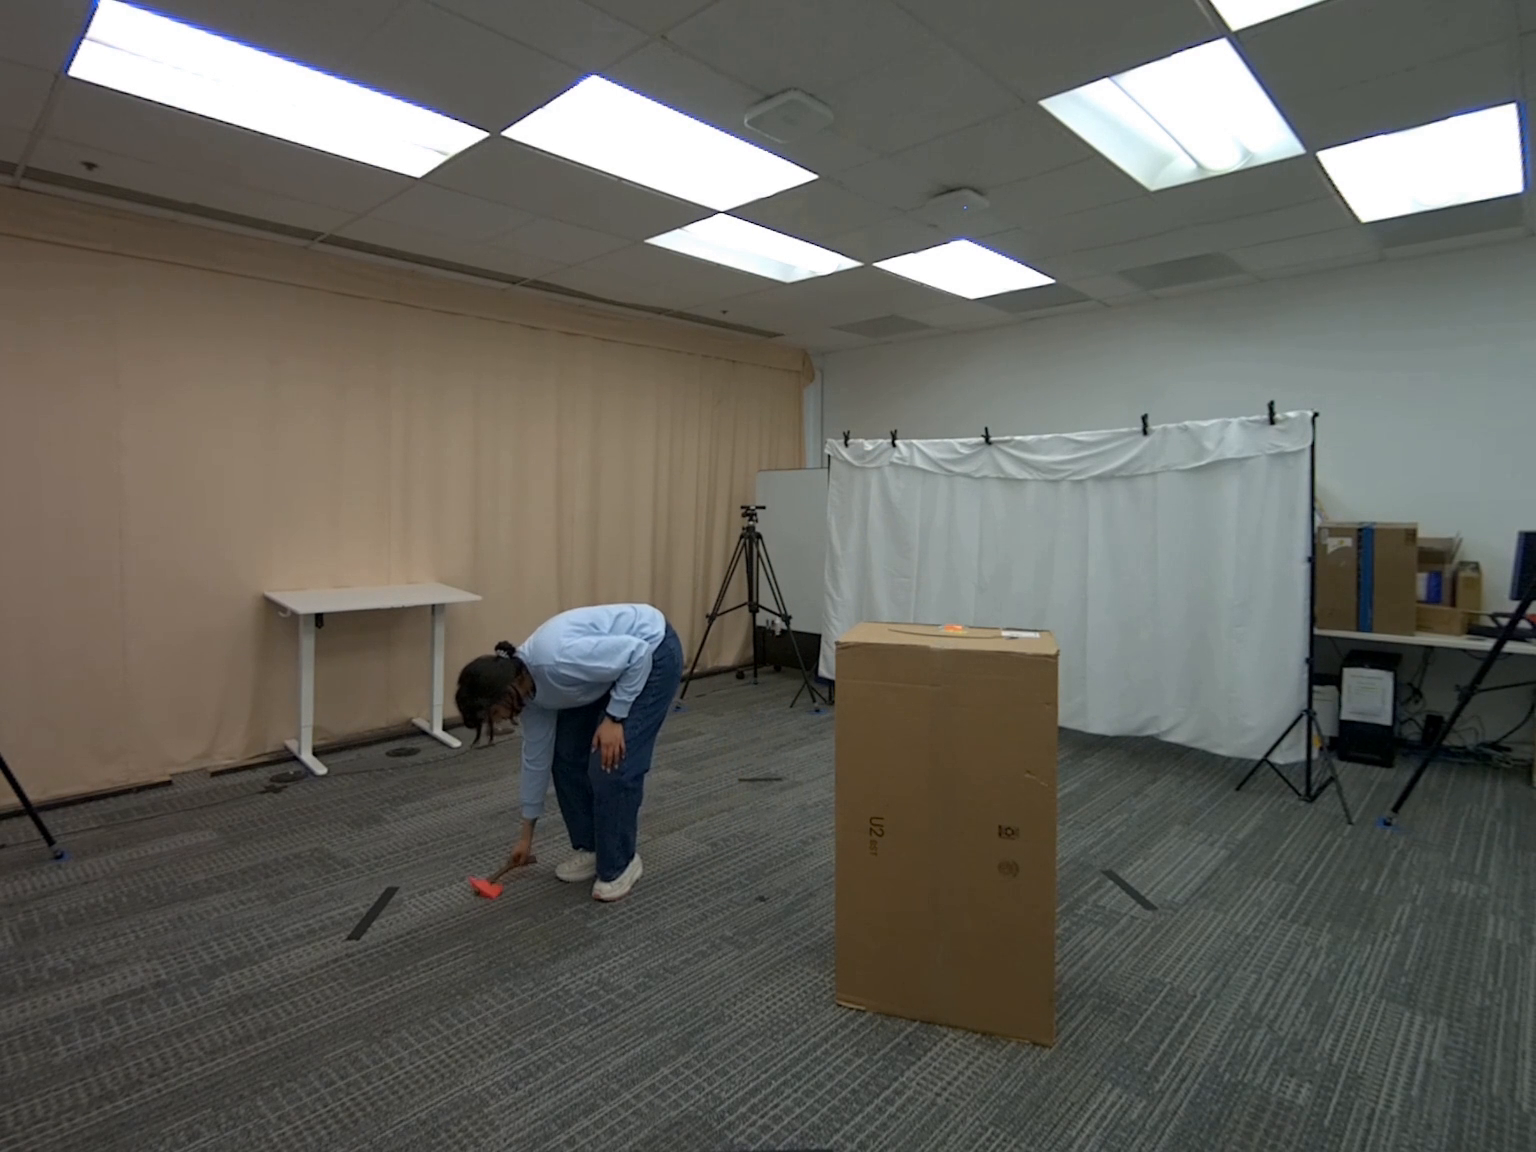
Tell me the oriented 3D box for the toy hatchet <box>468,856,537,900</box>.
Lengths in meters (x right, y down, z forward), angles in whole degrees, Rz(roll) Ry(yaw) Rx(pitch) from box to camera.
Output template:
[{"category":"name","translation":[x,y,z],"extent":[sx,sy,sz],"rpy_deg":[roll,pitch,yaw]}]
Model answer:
[{"category":"toy hatchet","translation":[-0.958,1.122,3.097],"extent":[0.262,0.029,0.136],"rpy_deg":[-4,22,-40]}]
